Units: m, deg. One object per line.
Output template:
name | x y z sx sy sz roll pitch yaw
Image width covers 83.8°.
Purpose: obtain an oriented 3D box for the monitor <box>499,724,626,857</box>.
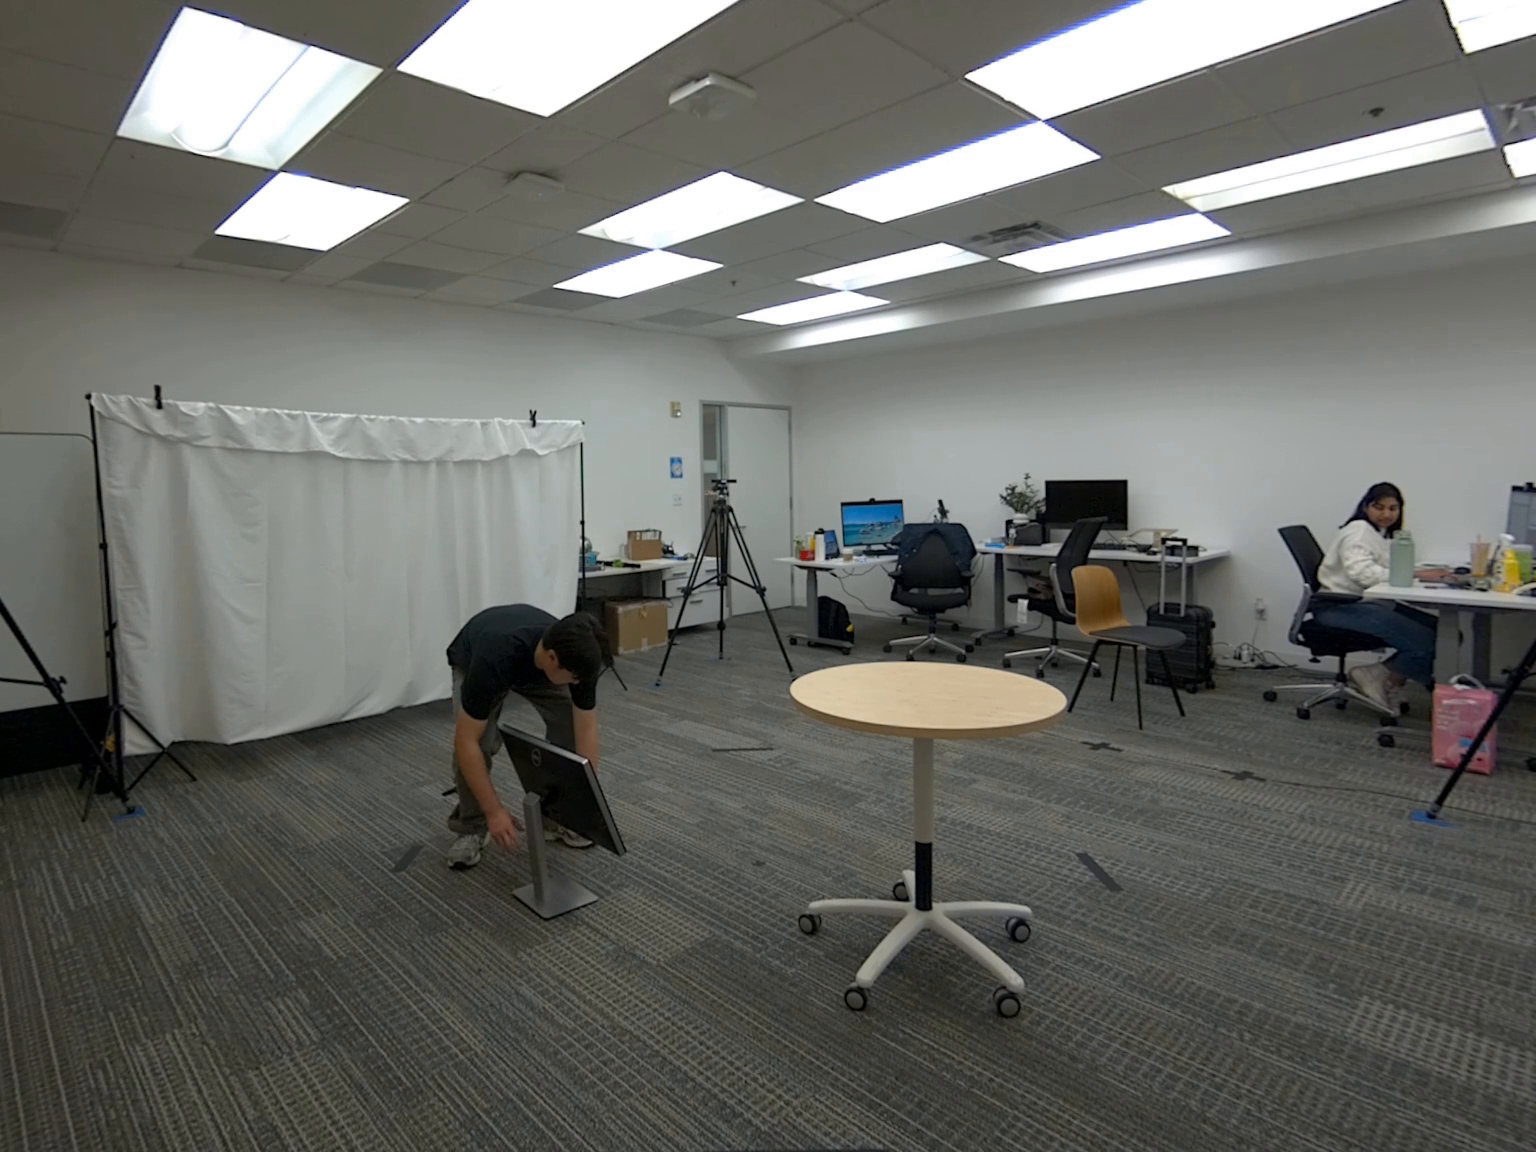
monitor | -0.725 0.830 2.866 0.216 0.563 0.579 -6 7 -43
